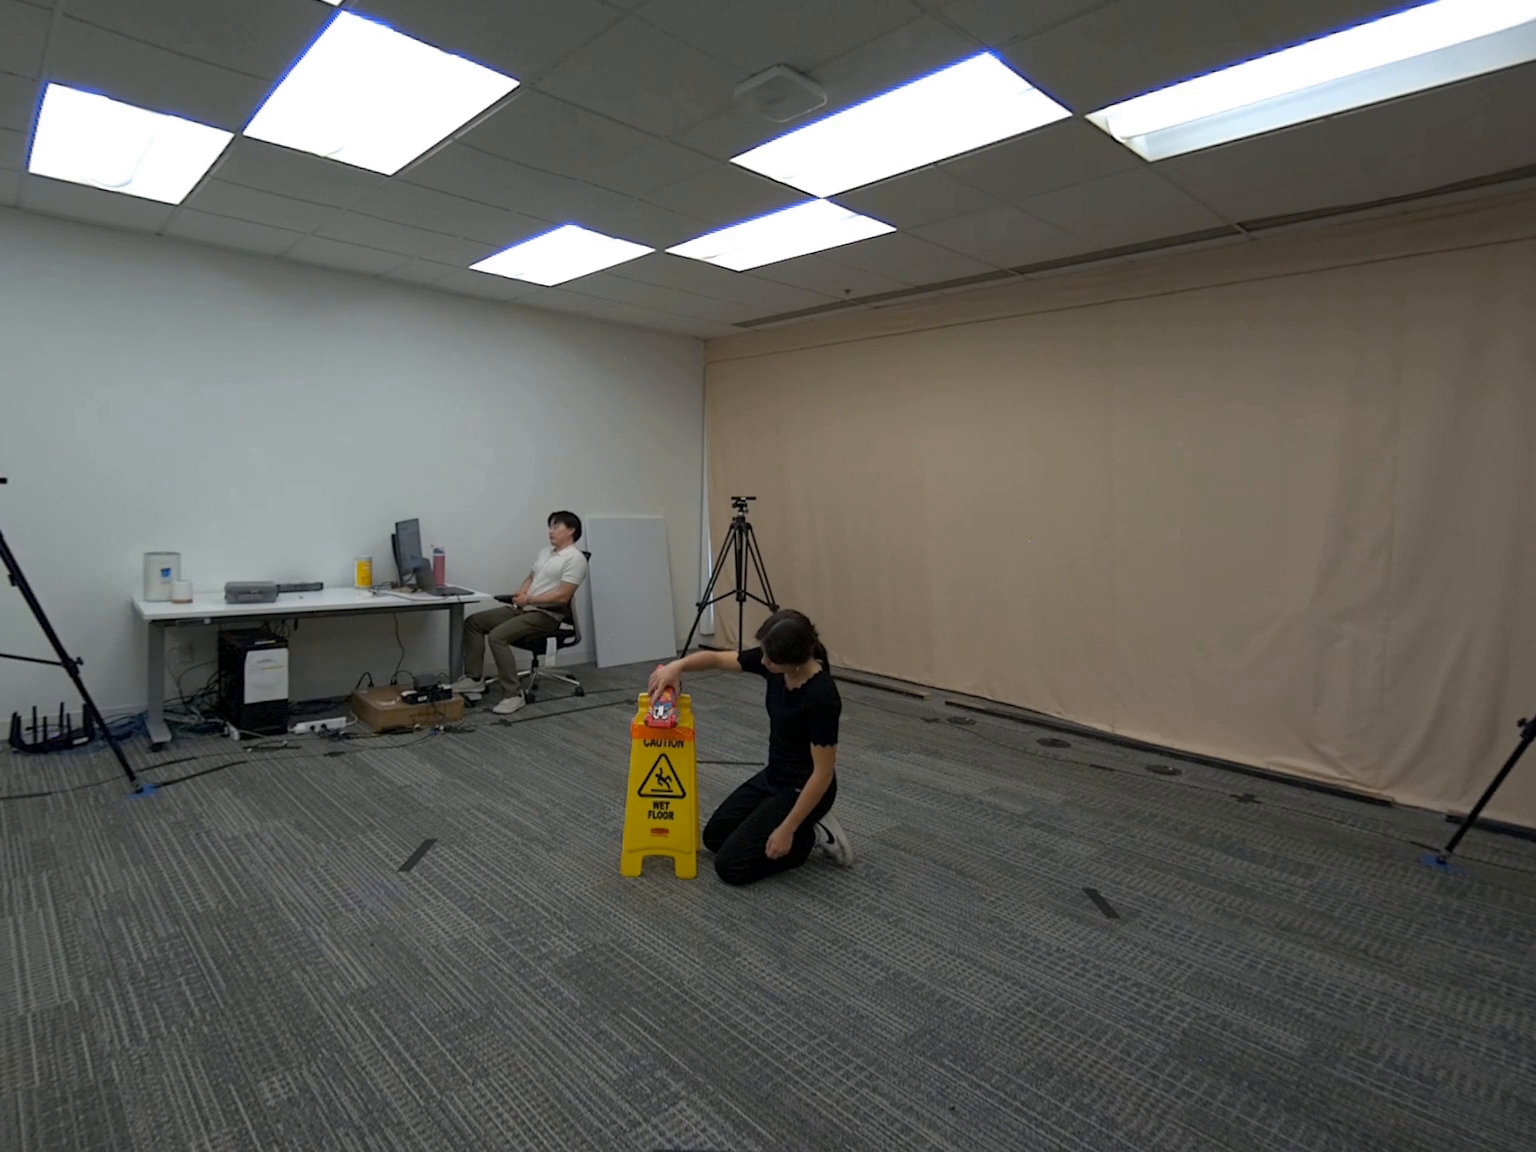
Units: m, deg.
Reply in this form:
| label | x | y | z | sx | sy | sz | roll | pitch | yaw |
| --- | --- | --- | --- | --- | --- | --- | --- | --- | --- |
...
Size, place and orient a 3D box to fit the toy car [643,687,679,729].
| label | x | y | z | sx | sy | sz | roll | pitch | yaw |
| --- | --- | --- | --- | --- | --- | --- | --- | --- | --- |
| toy car | -0.390 | 0.449 | 3.129 | 0.131 | 0.259 | 0.081 | 3 | -28 | 4 |
